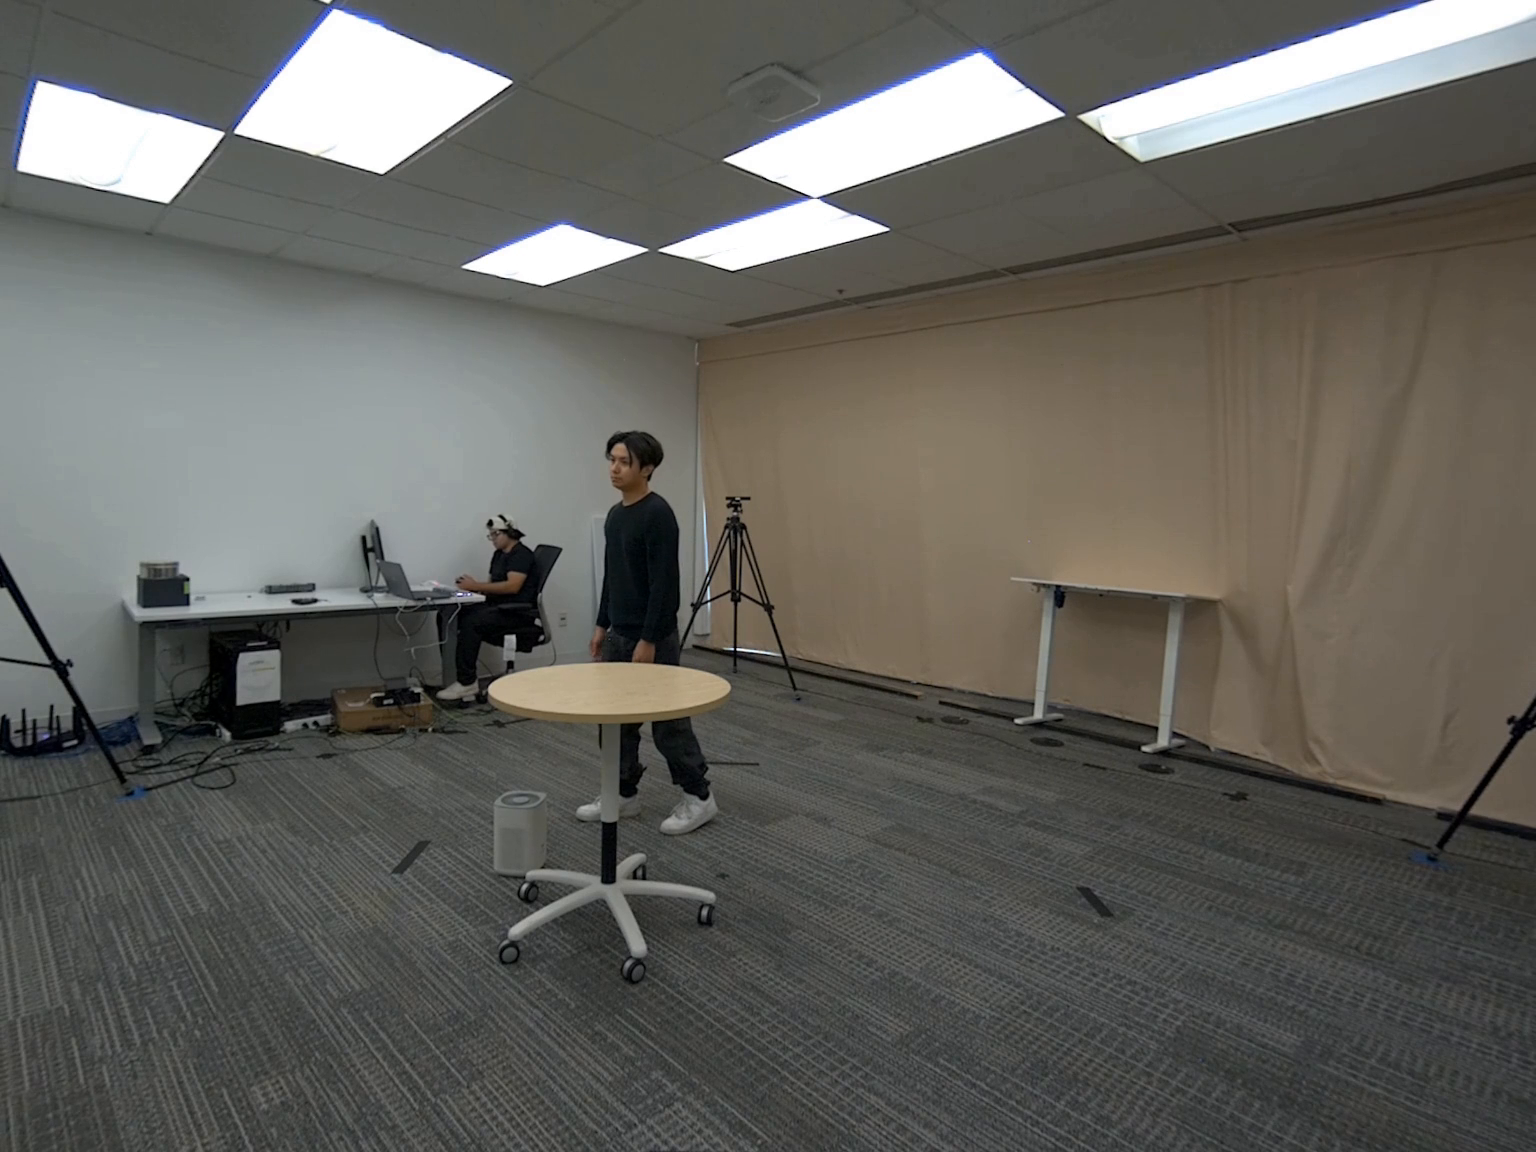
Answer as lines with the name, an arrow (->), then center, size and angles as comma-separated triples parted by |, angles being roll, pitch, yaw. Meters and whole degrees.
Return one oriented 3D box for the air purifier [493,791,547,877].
air purifier -> -0.924, 0.956, 3.114 | 0.172, 0.265, 0.170 | 2, 4, 5
